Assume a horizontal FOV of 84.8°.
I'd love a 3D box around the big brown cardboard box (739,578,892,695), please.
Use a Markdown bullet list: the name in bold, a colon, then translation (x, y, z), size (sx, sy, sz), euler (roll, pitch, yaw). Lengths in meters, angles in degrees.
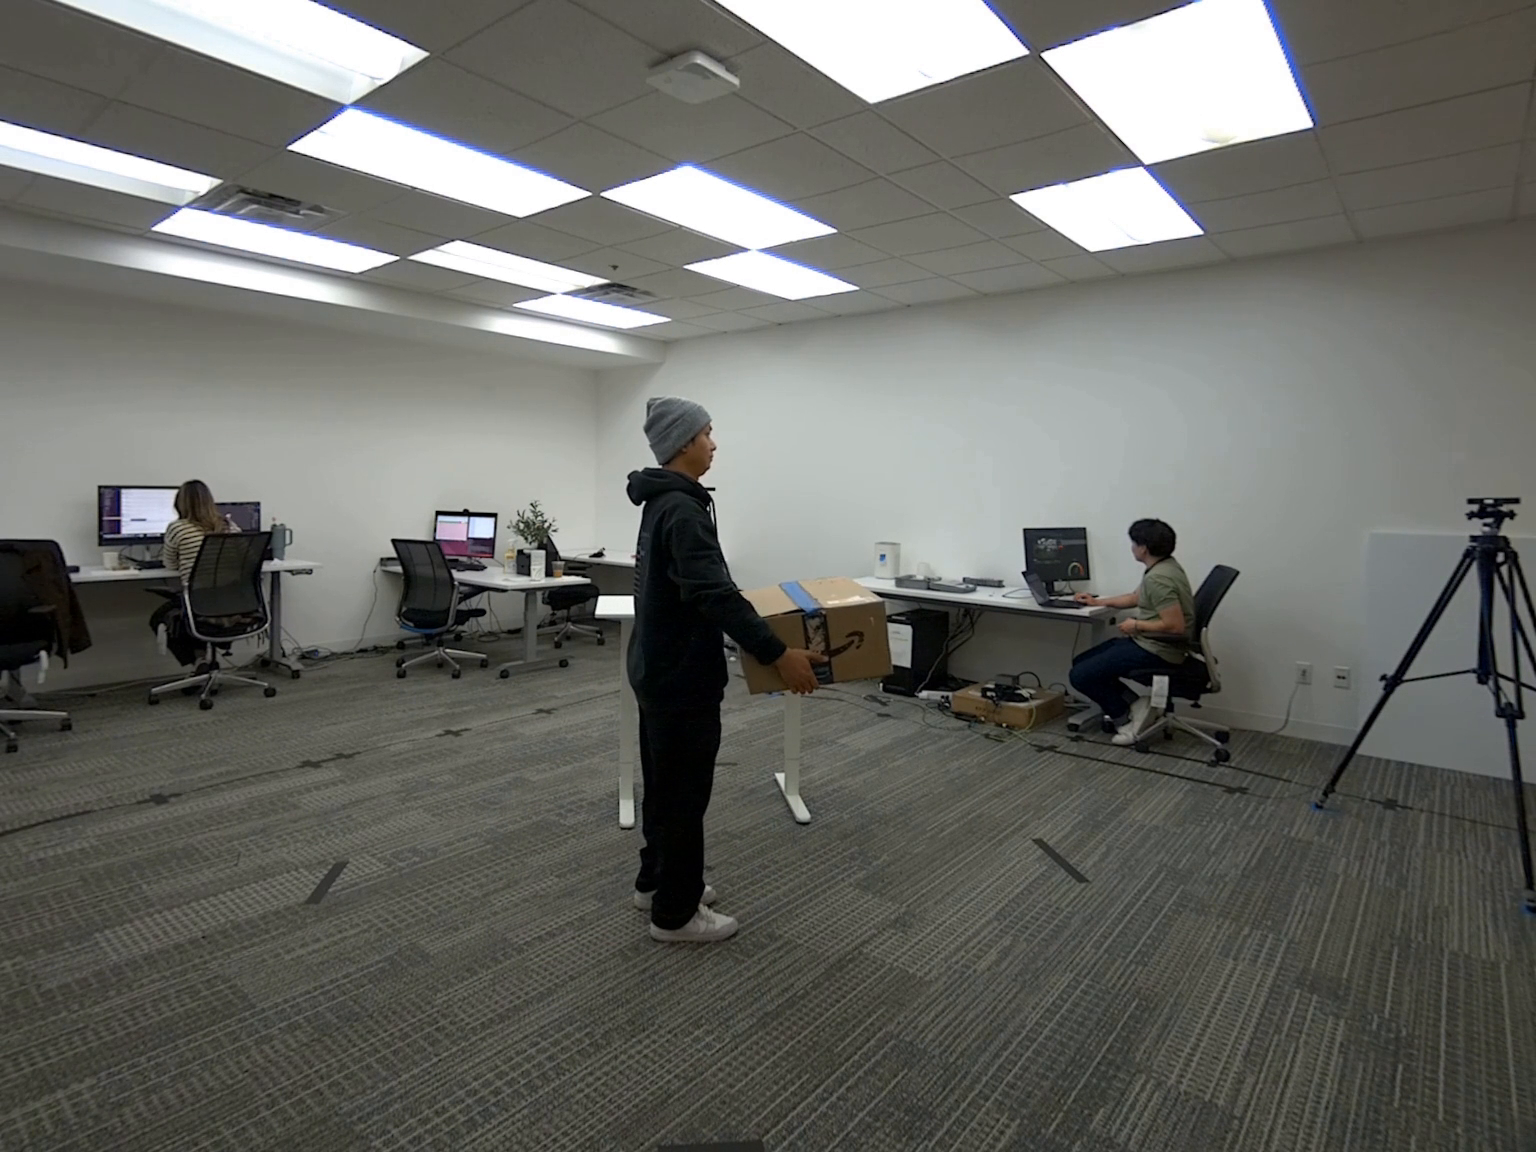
- **big brown cardboard box**: translation (0.098, 0.168, 2.660), size (0.416, 0.232, 0.594), euler (-8, 6, -4)
